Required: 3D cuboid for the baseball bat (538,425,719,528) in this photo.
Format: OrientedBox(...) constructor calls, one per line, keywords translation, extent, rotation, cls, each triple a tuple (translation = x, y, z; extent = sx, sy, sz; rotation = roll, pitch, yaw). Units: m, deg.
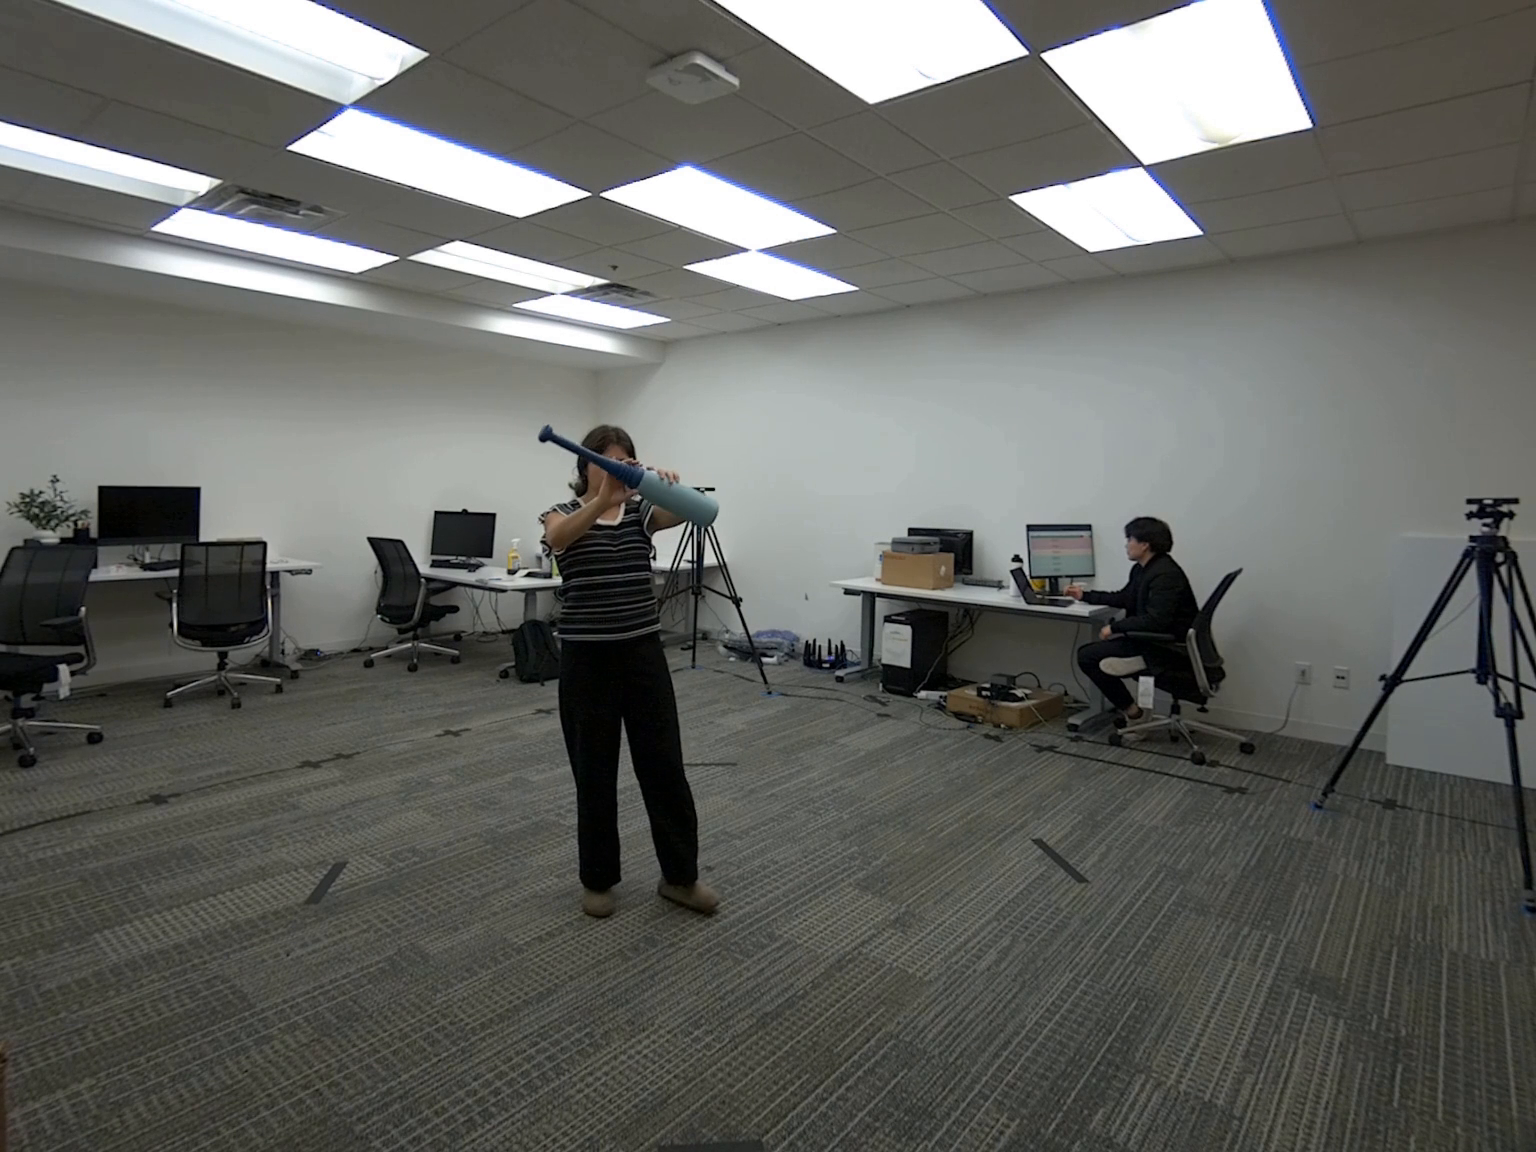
OrientedBox(translation=(-0.393, -0.273, 2.310), extent=(0.527, 0.089, 0.091), rotation=(24, -7, -24), cls="baseball bat")
